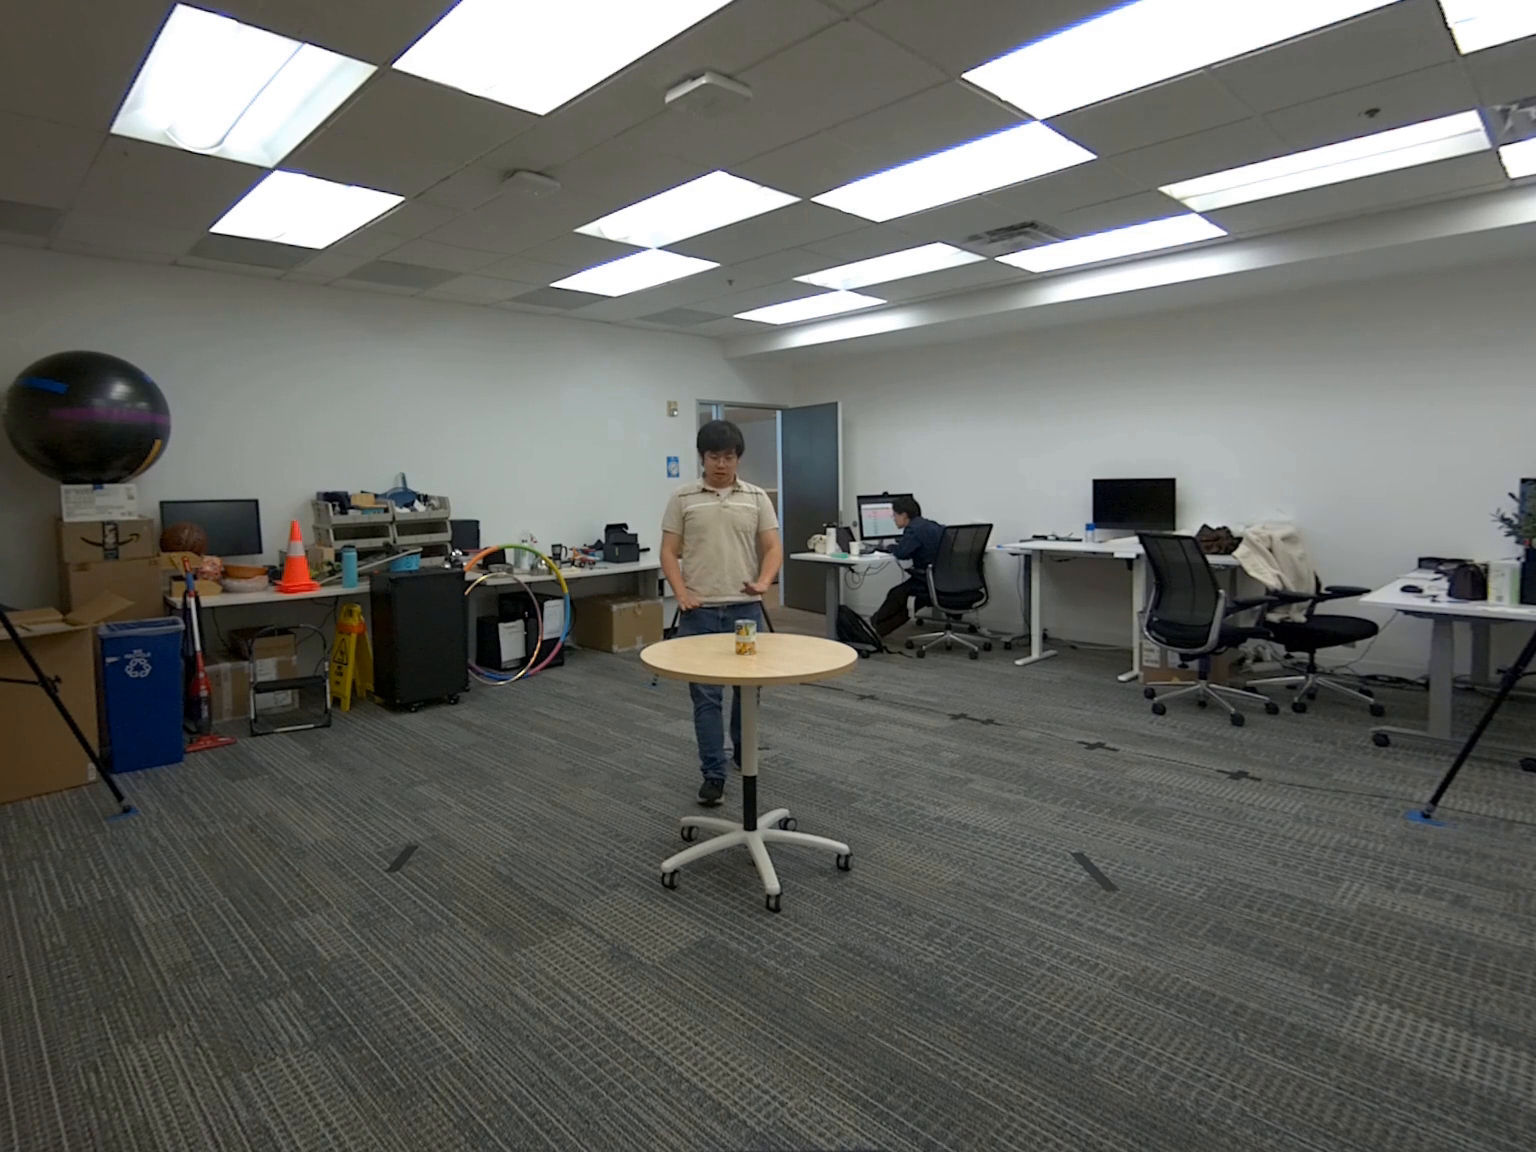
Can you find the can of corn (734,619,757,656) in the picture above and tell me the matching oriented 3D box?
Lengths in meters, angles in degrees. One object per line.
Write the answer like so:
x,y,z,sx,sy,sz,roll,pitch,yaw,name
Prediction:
-0.080,0.222,3.013,0.074,0.110,0.074,0,4,-2,can of corn
